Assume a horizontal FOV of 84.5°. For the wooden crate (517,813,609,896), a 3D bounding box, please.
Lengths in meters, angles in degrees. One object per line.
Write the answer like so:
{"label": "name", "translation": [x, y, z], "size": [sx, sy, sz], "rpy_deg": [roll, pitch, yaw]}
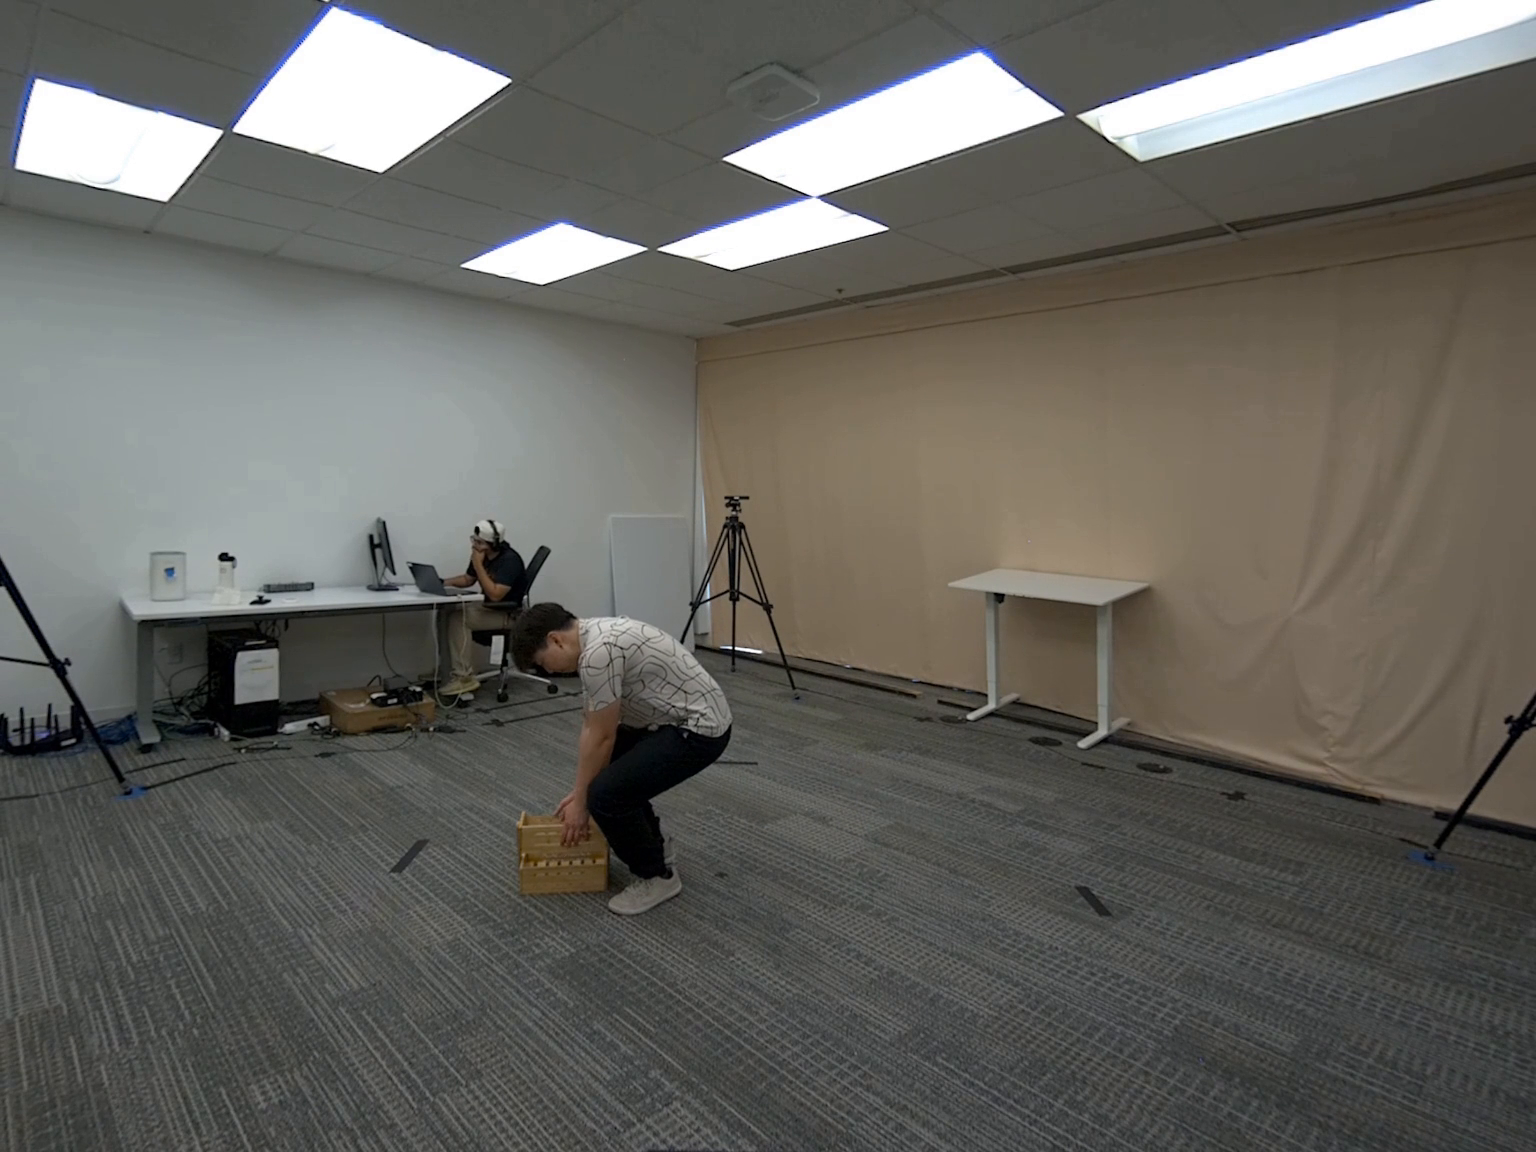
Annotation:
{"label": "wooden crate", "translation": [-0.744, 0.959, 3.030], "size": [0.321, 0.272, 0.306], "rpy_deg": [0, 5, -12]}
